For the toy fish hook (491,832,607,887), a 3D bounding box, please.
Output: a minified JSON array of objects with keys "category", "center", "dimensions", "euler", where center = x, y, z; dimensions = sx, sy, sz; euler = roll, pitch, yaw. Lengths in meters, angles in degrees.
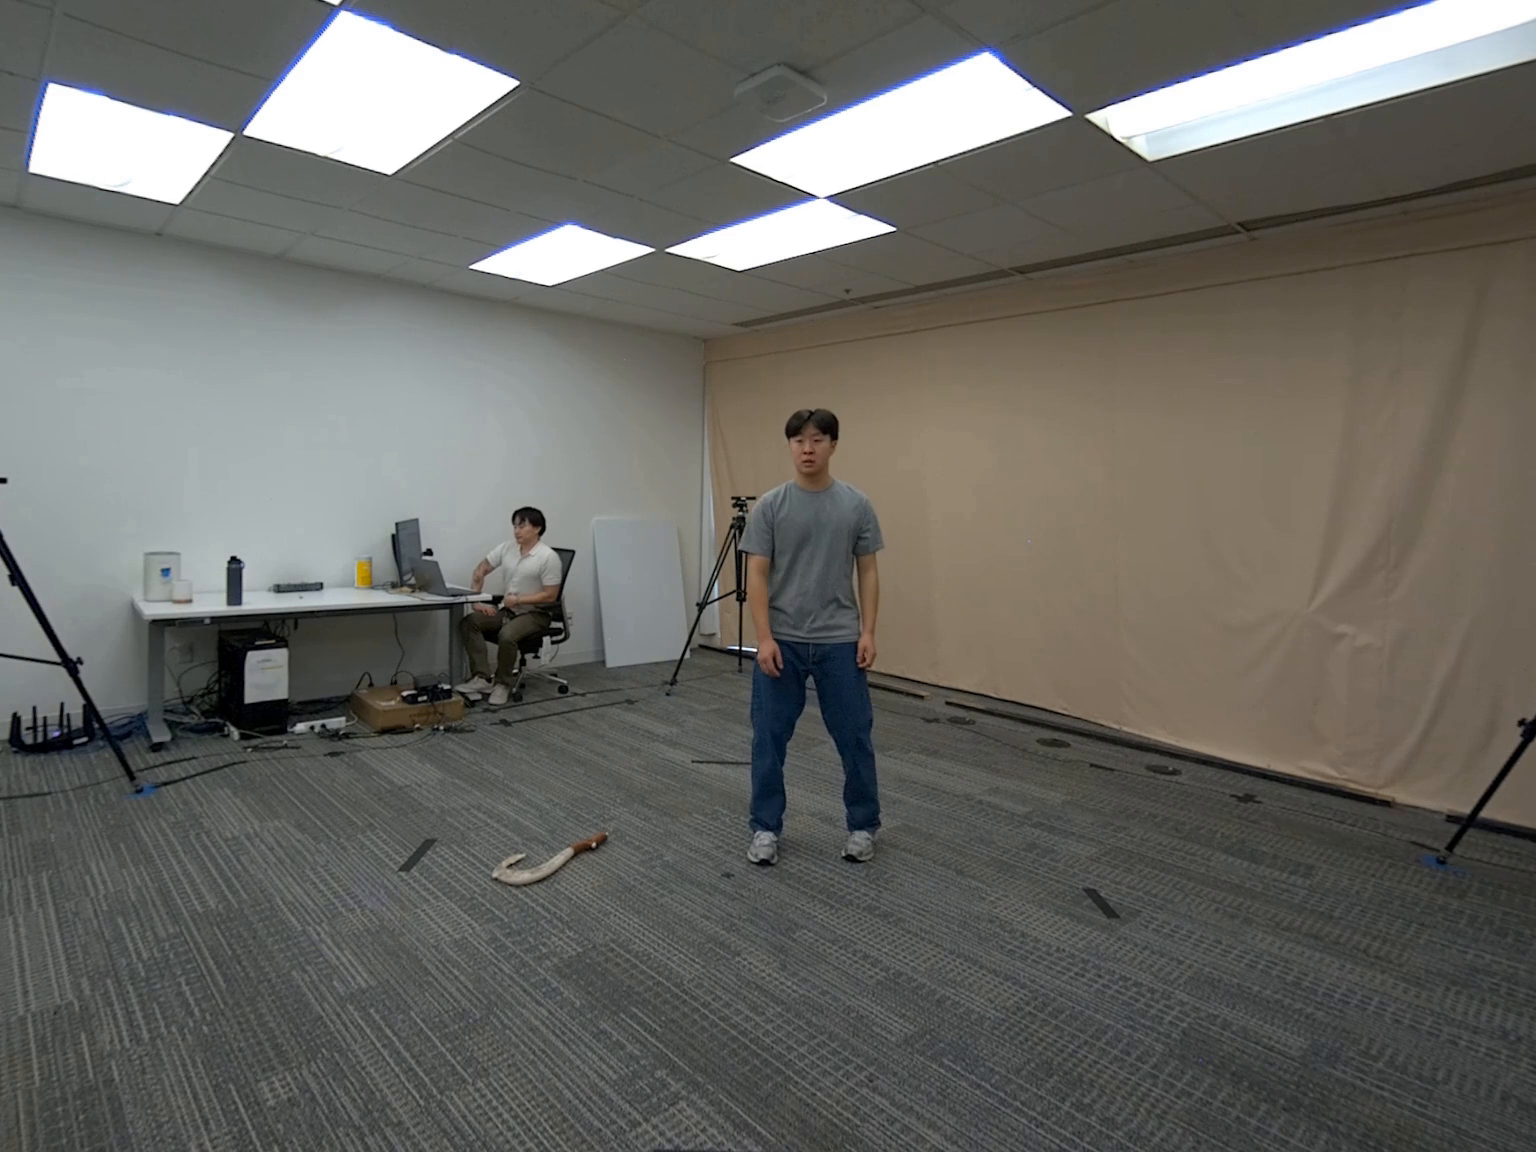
[{"category":"toy fish hook","center":[-0.830,1.058,3.204],"dimensions":[0.230,0.048,0.497],"euler":[6,7,31]}]
